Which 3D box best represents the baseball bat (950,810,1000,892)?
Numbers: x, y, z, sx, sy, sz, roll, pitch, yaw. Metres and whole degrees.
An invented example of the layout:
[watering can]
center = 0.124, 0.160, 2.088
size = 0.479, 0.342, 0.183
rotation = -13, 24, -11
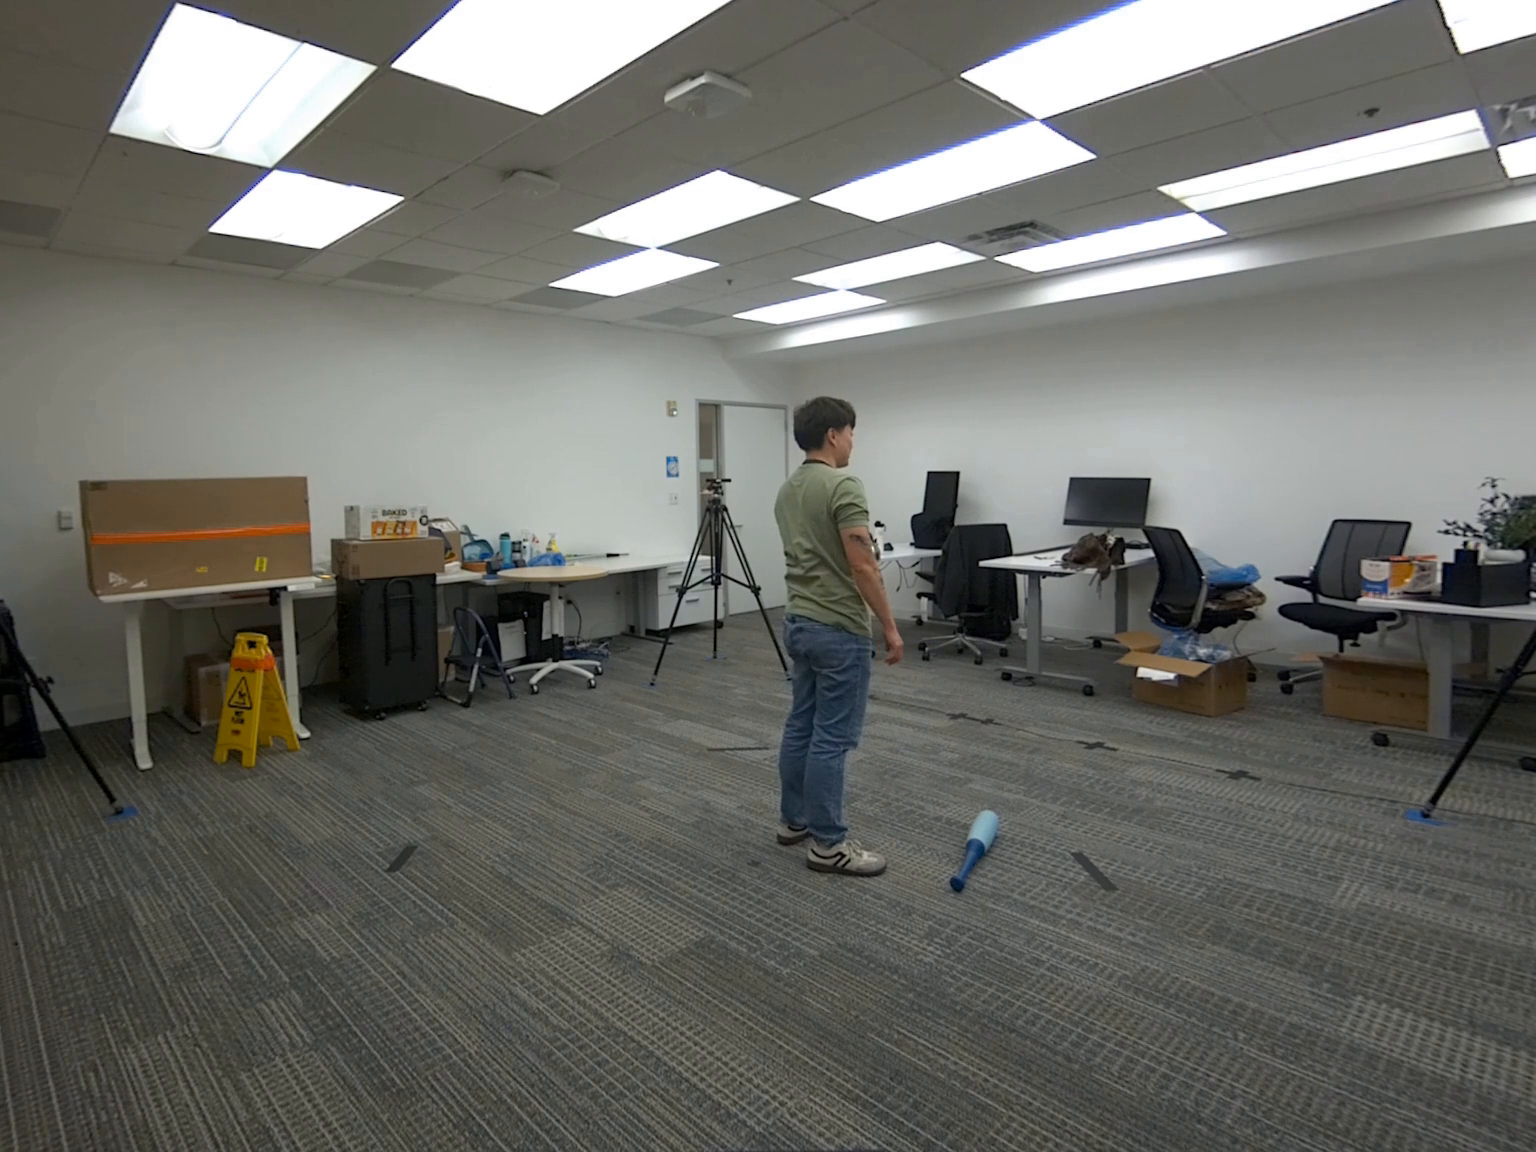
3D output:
[baseball bat]
center = 0.748, 0.993, 3.094
size = 0.091, 0.088, 0.535
rotation = 1, 10, 24
